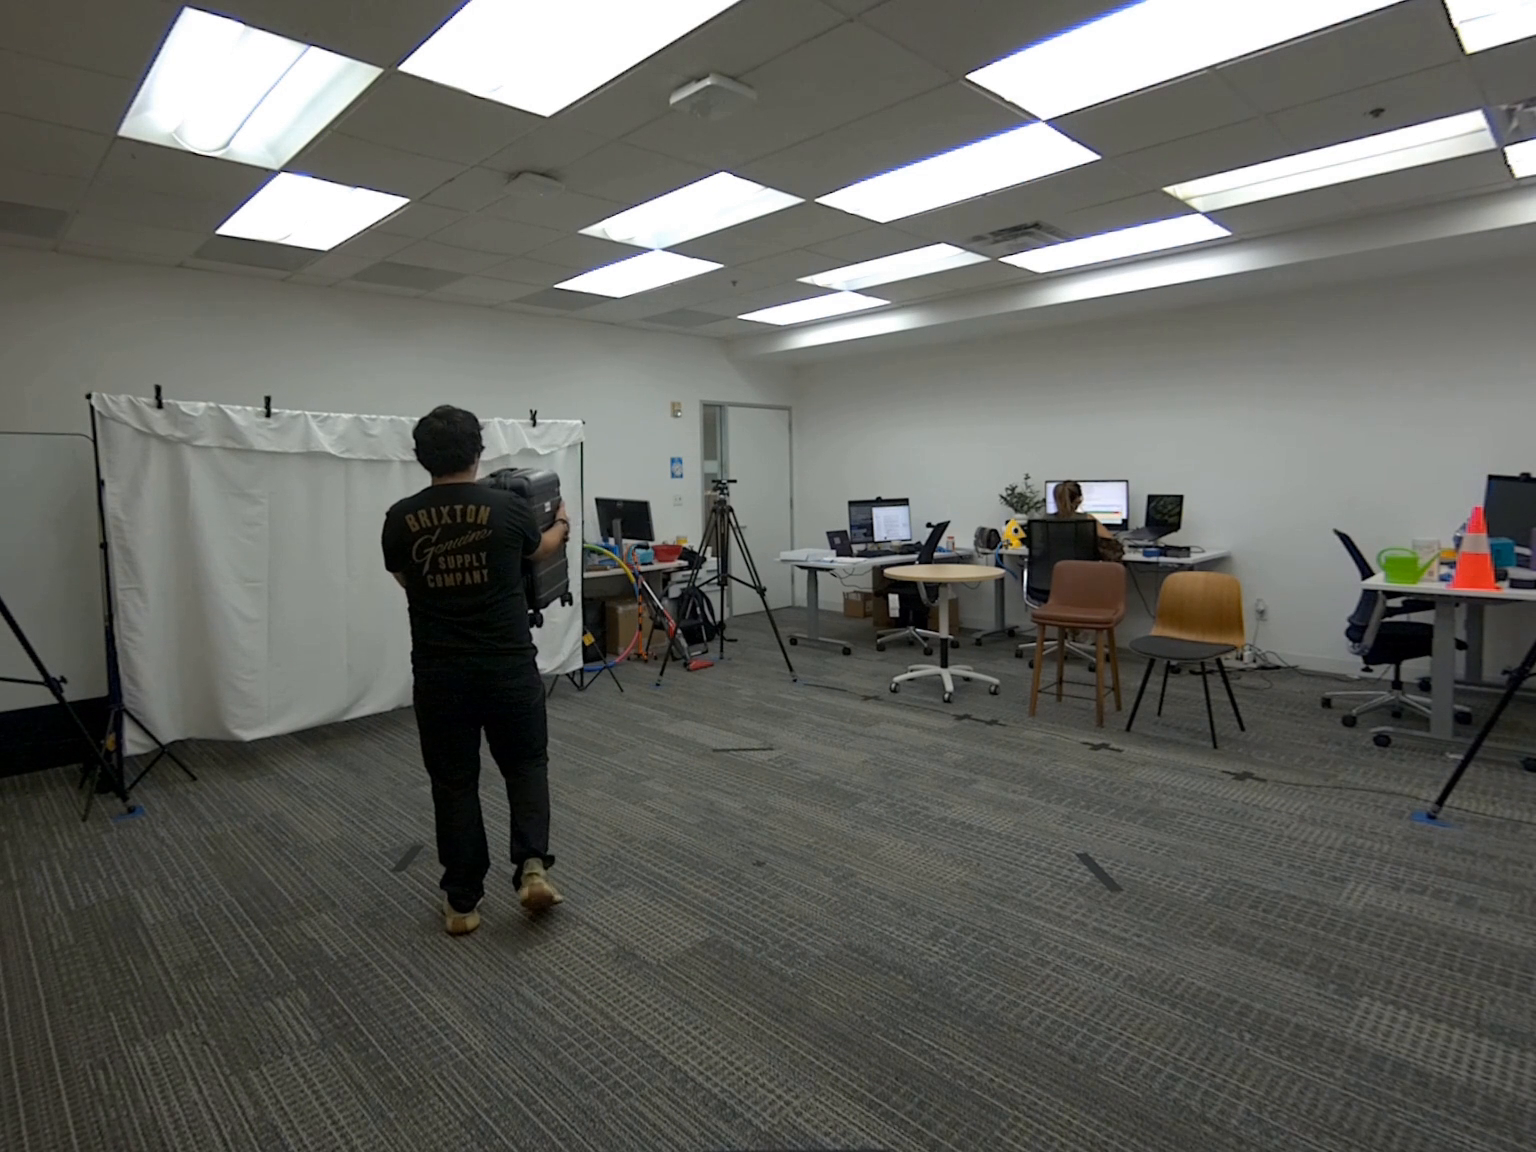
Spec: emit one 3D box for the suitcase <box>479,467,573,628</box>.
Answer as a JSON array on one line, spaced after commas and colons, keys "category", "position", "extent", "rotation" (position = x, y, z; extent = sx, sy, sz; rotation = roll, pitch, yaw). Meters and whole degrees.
[{"category": "suitcase", "position": [-0.912, -0.122, 3.159], "extent": [0.250, 0.544, 0.375], "rotation": [-1, 10, 8]}]
